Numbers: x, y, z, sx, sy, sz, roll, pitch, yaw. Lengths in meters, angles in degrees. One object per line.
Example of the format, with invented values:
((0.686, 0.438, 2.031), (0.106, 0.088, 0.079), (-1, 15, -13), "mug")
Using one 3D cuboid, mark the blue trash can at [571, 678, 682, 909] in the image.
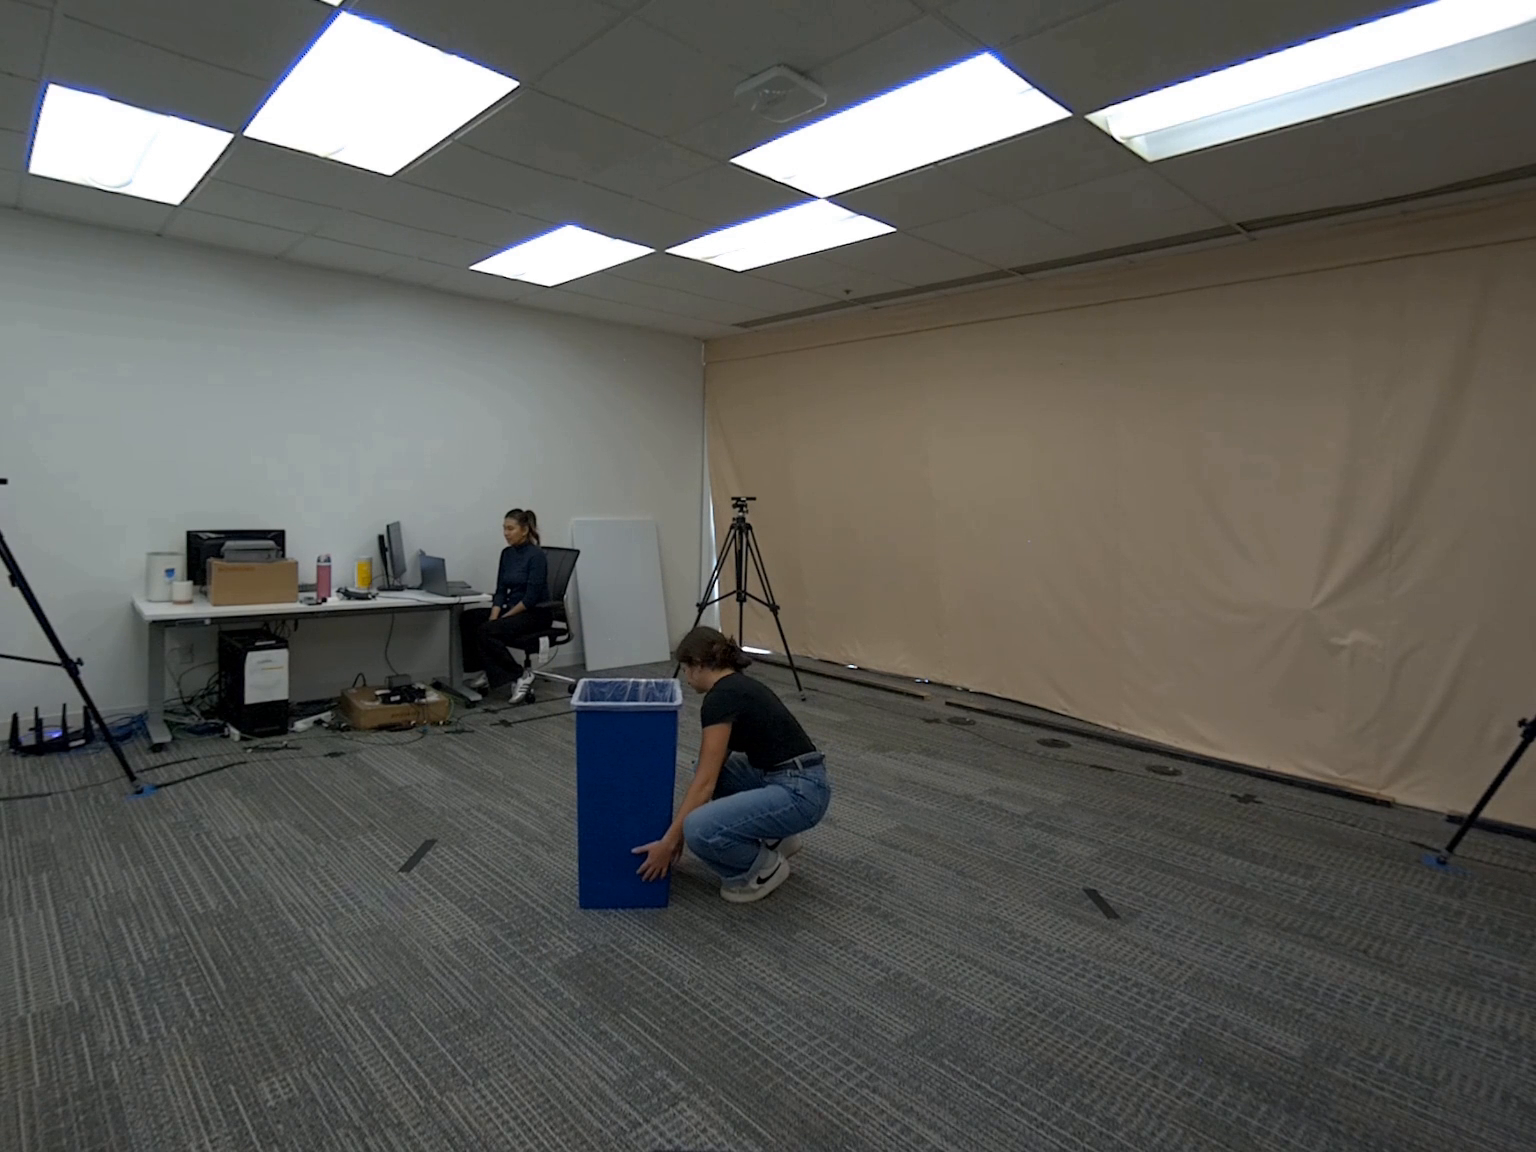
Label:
((-0.504, 0.753, 2.963), (0.376, 0.712, 0.377), (1, 3, -7), "blue trash can")
